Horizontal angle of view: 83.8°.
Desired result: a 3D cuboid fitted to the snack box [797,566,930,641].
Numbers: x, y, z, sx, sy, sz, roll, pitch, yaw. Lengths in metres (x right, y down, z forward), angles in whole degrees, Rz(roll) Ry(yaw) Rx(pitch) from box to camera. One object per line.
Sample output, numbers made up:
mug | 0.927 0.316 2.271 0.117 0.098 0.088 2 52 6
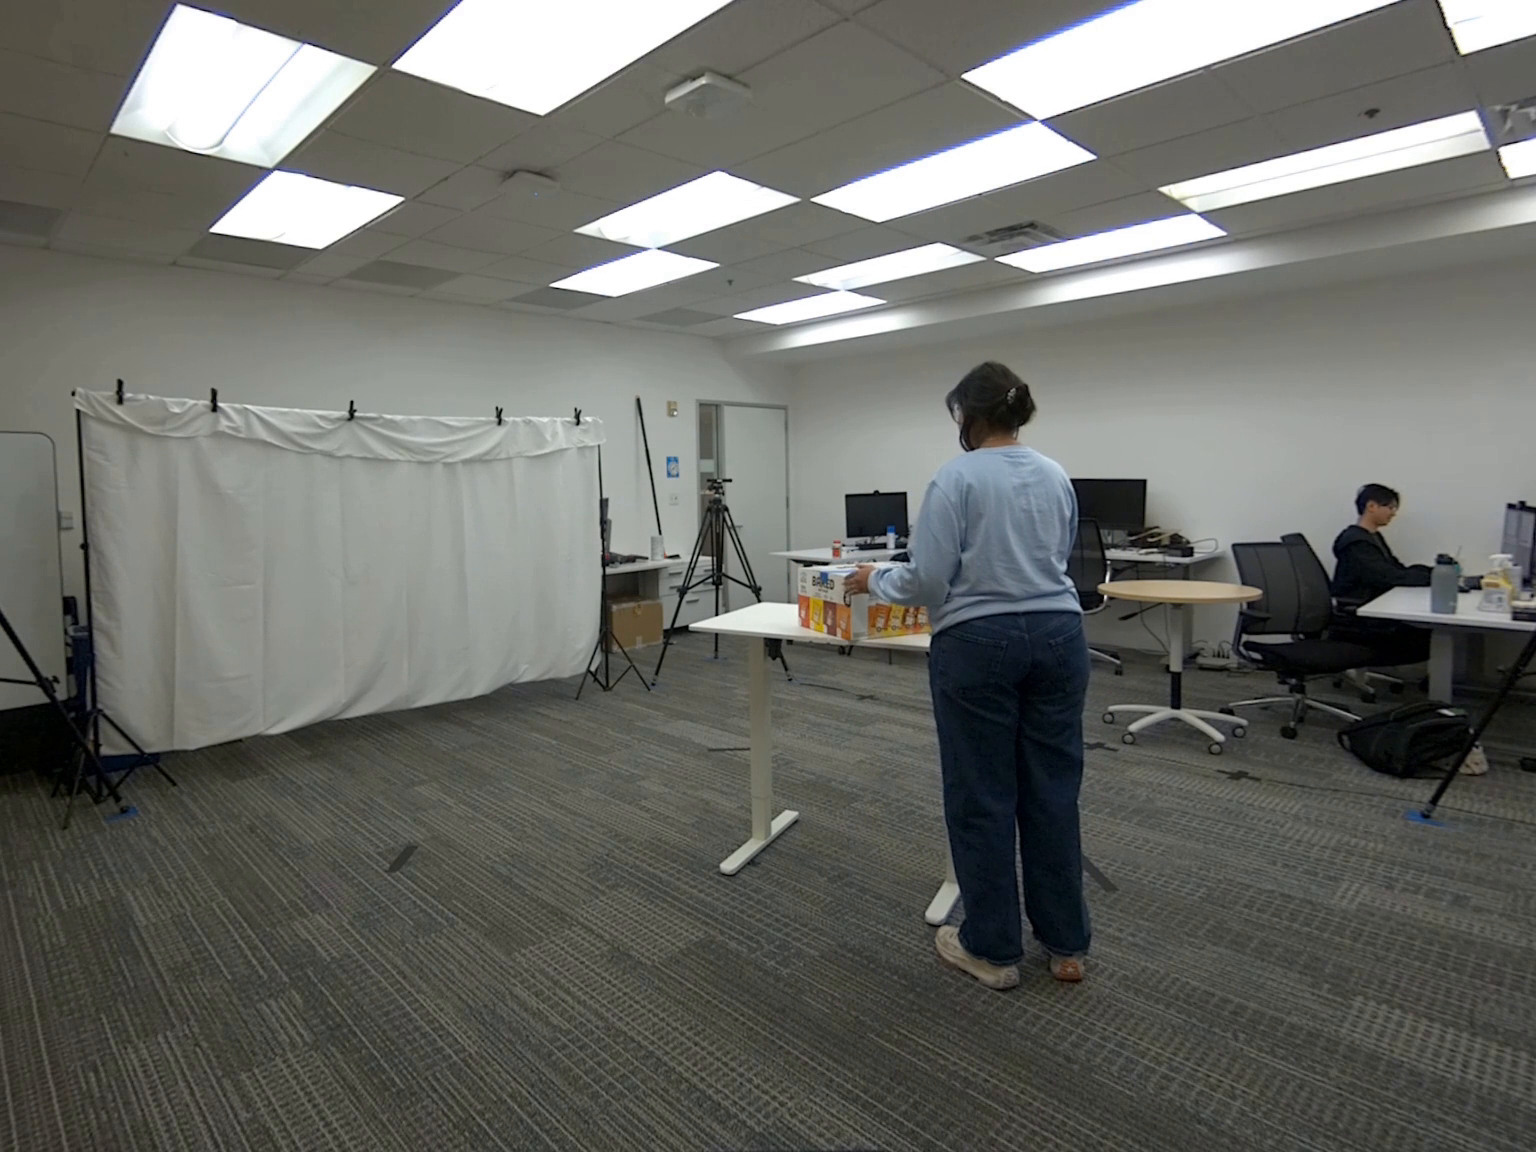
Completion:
snack box | 0.363 0.076 2.917 0.396 0.205 0.349 -4 7 -26
